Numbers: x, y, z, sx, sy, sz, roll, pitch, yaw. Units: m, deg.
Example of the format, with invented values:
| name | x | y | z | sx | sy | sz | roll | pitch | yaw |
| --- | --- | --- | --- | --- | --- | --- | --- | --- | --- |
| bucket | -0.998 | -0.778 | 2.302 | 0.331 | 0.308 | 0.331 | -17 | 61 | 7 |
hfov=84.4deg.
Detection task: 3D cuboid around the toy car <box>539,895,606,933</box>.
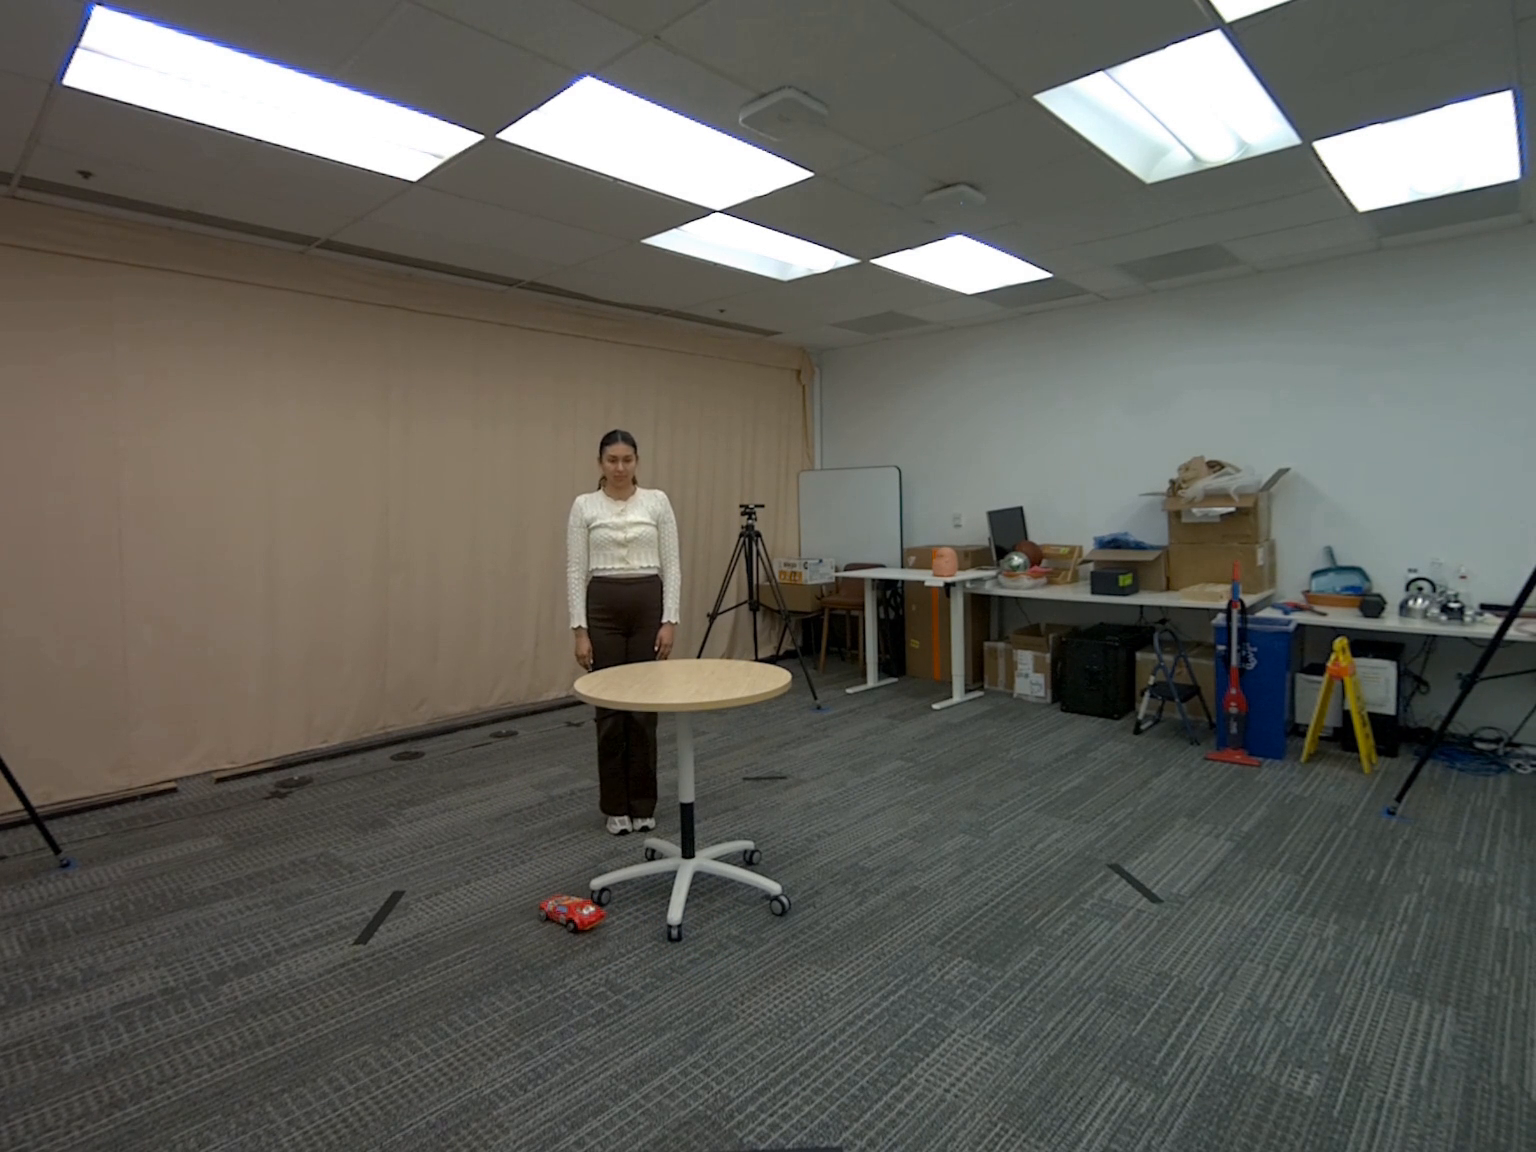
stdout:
| name | x | y | z | sx | sy | sz | roll | pitch | yaw |
| --- | --- | --- | --- | --- | --- | --- | --- | --- | --- |
| toy car | -0.659 | 1.131 | 2.836 | 0.261 | 0.083 | 0.126 | -10 | -2 | 36 |
